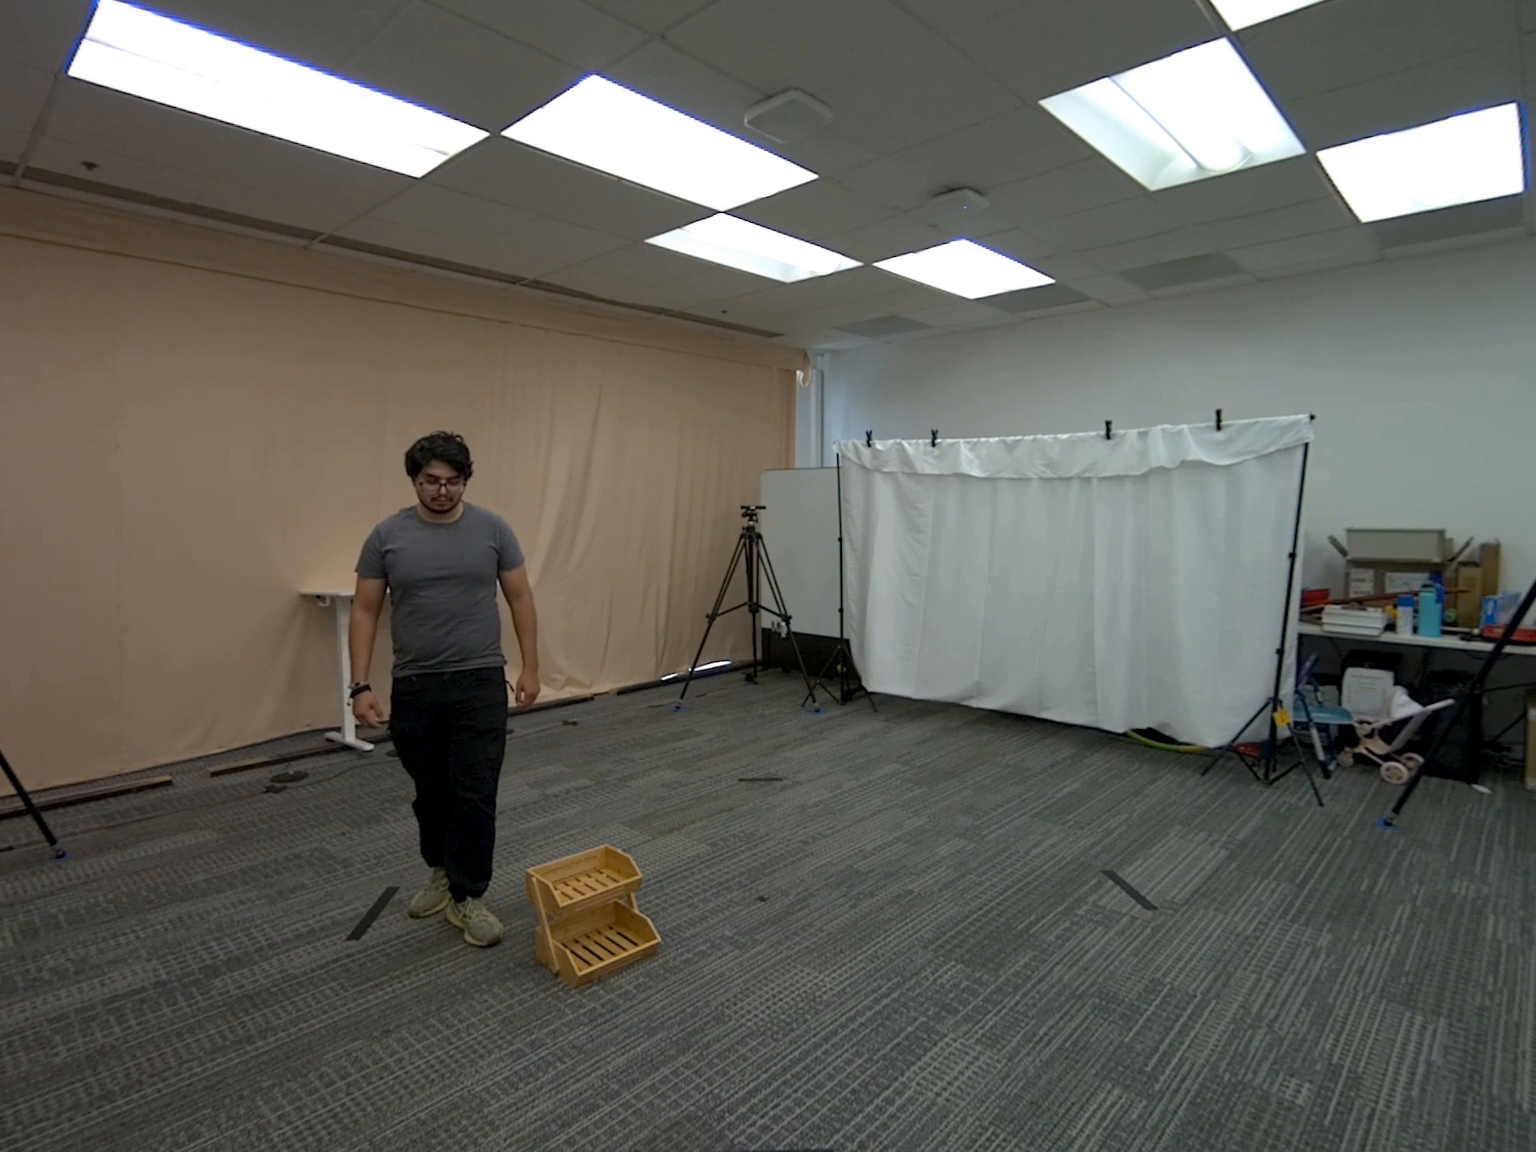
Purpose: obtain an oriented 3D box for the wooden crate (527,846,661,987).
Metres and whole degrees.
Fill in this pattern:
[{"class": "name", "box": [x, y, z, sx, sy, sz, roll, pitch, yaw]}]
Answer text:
[{"class": "wooden crate", "box": [-0.545, 1.048, 2.615, 0.314, 0.273, 0.312, -4, 4, -42]}]
